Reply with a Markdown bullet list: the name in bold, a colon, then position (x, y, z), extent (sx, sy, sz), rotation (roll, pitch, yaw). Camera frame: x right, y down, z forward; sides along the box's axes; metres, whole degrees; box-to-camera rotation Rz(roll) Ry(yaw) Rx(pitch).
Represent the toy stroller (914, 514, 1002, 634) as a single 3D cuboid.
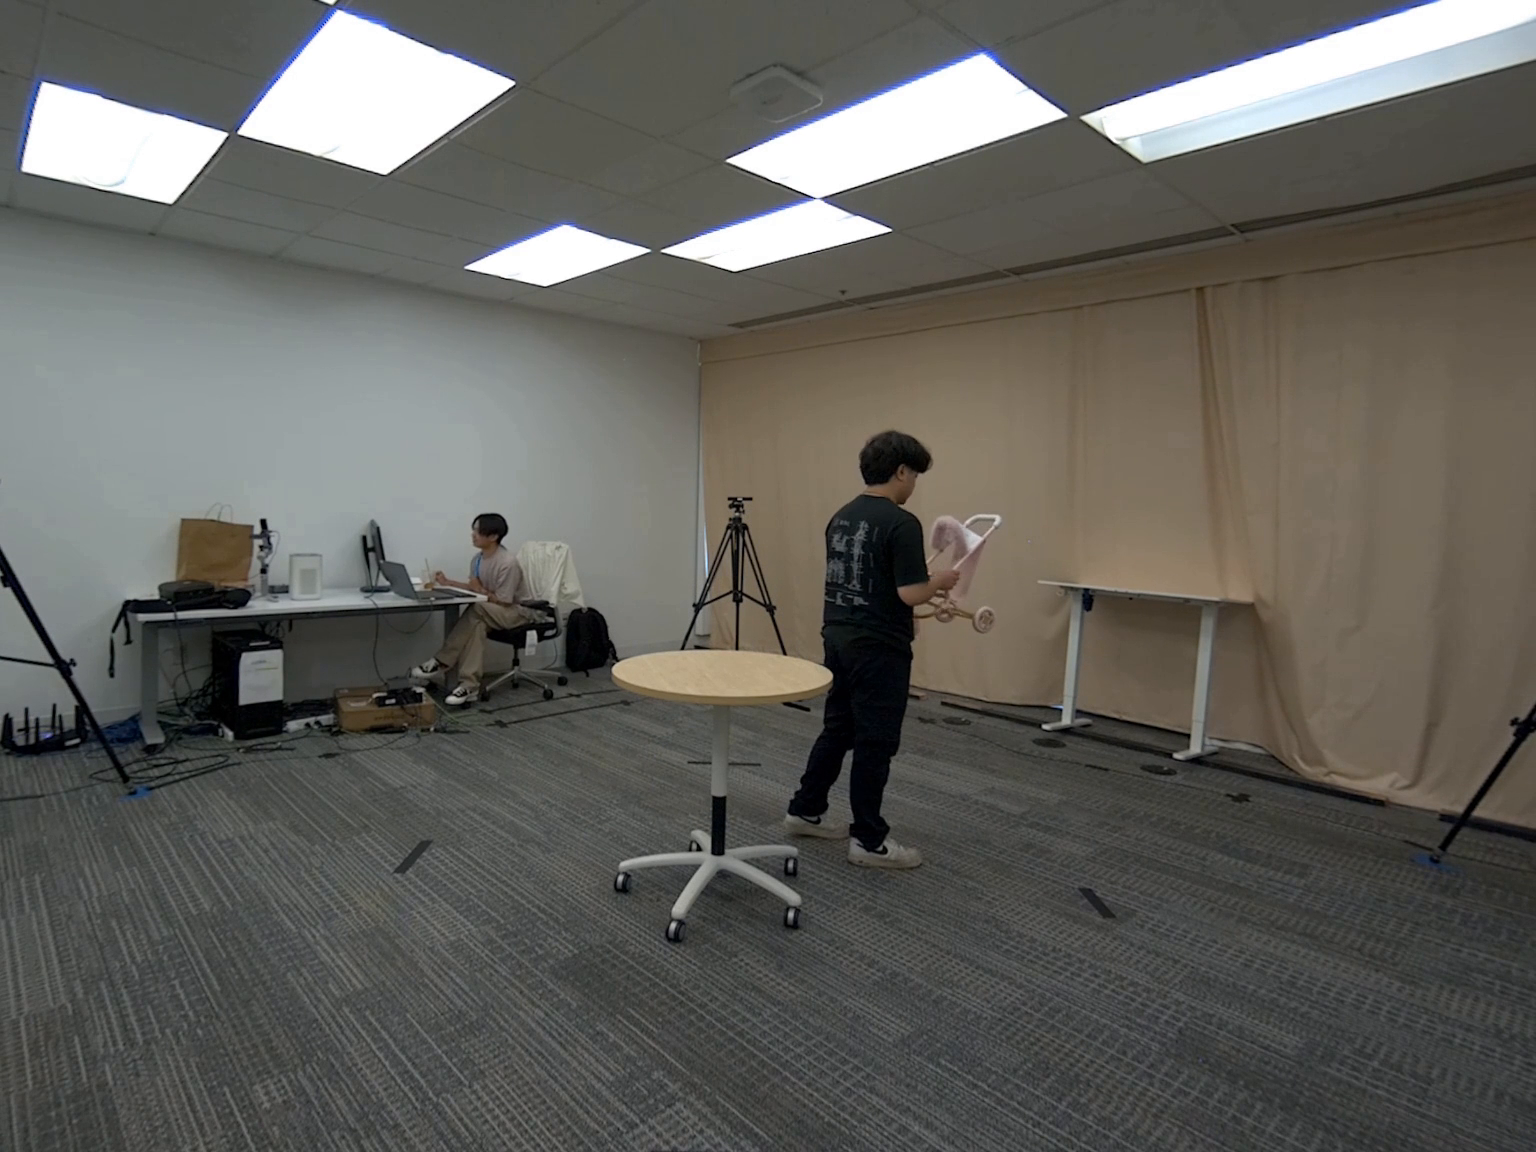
- **toy stroller**: position (0.719, -0.003, 3.432), extent (0.336, 0.534, 0.286), rotation (7, 3, -19)
